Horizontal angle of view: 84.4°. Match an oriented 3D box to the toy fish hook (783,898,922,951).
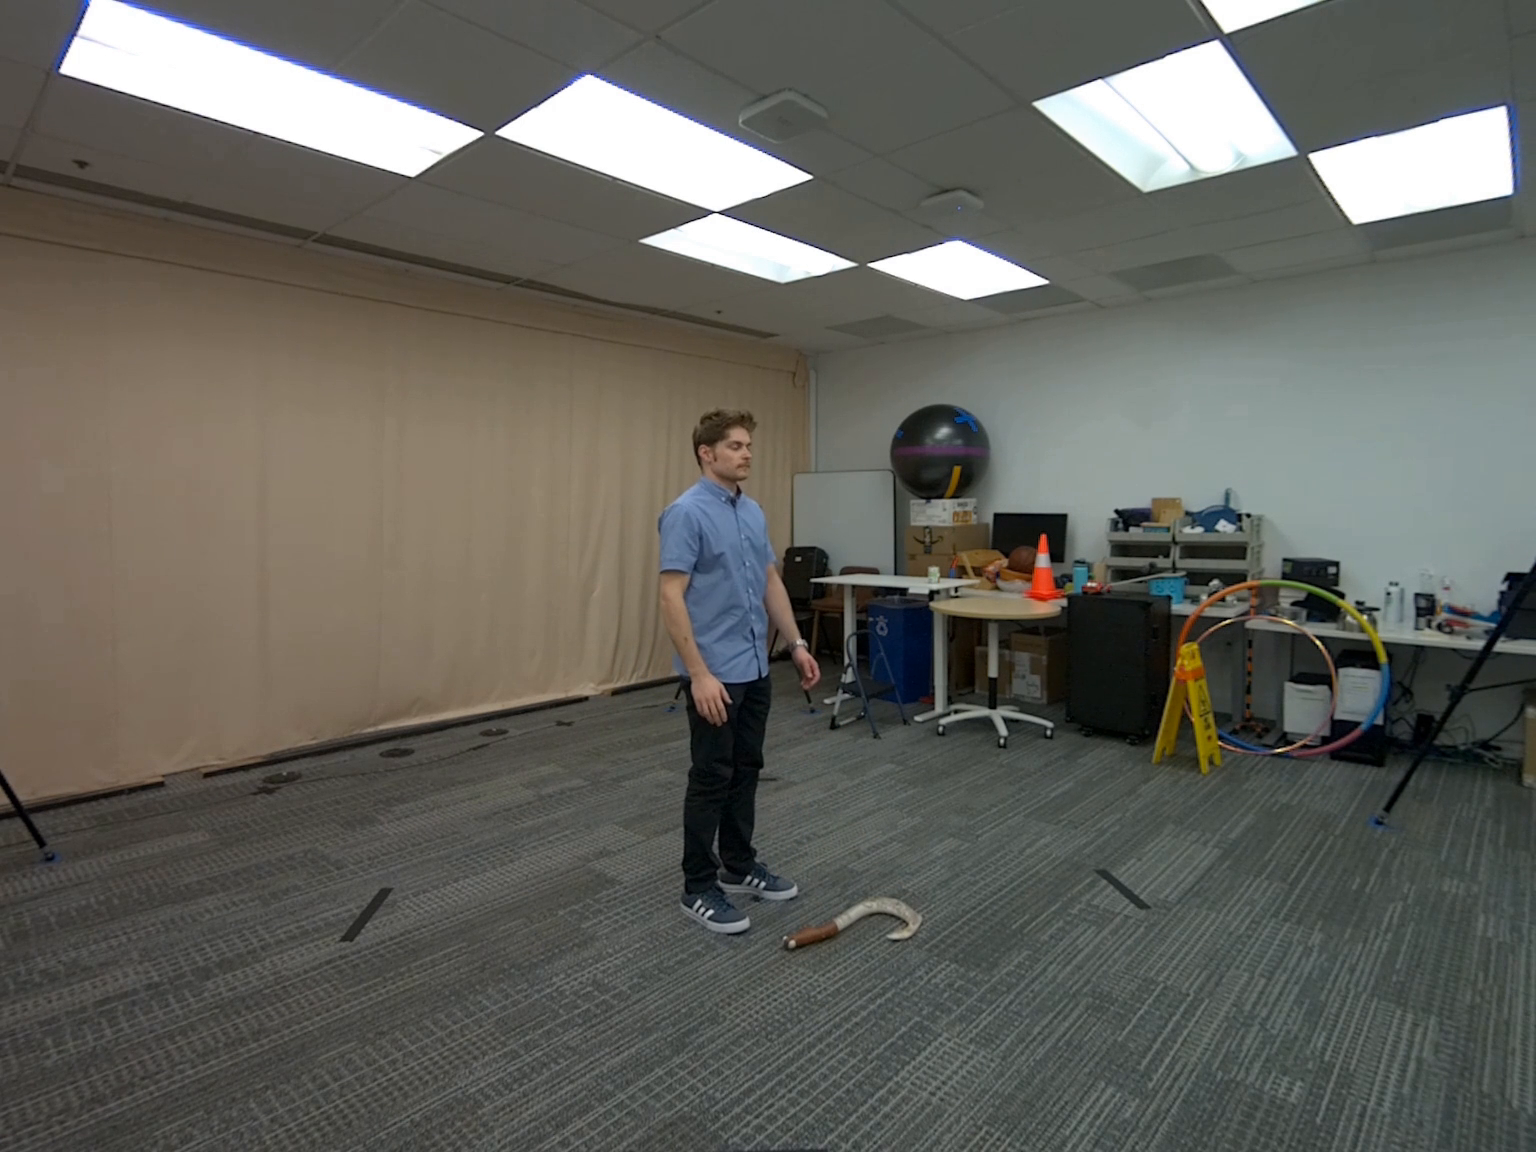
[{"bbox_3d":[0.288,1.142,2.727,0.492,0.048,0.231,-4,5,-34],"label":"toy fish hook"}]
